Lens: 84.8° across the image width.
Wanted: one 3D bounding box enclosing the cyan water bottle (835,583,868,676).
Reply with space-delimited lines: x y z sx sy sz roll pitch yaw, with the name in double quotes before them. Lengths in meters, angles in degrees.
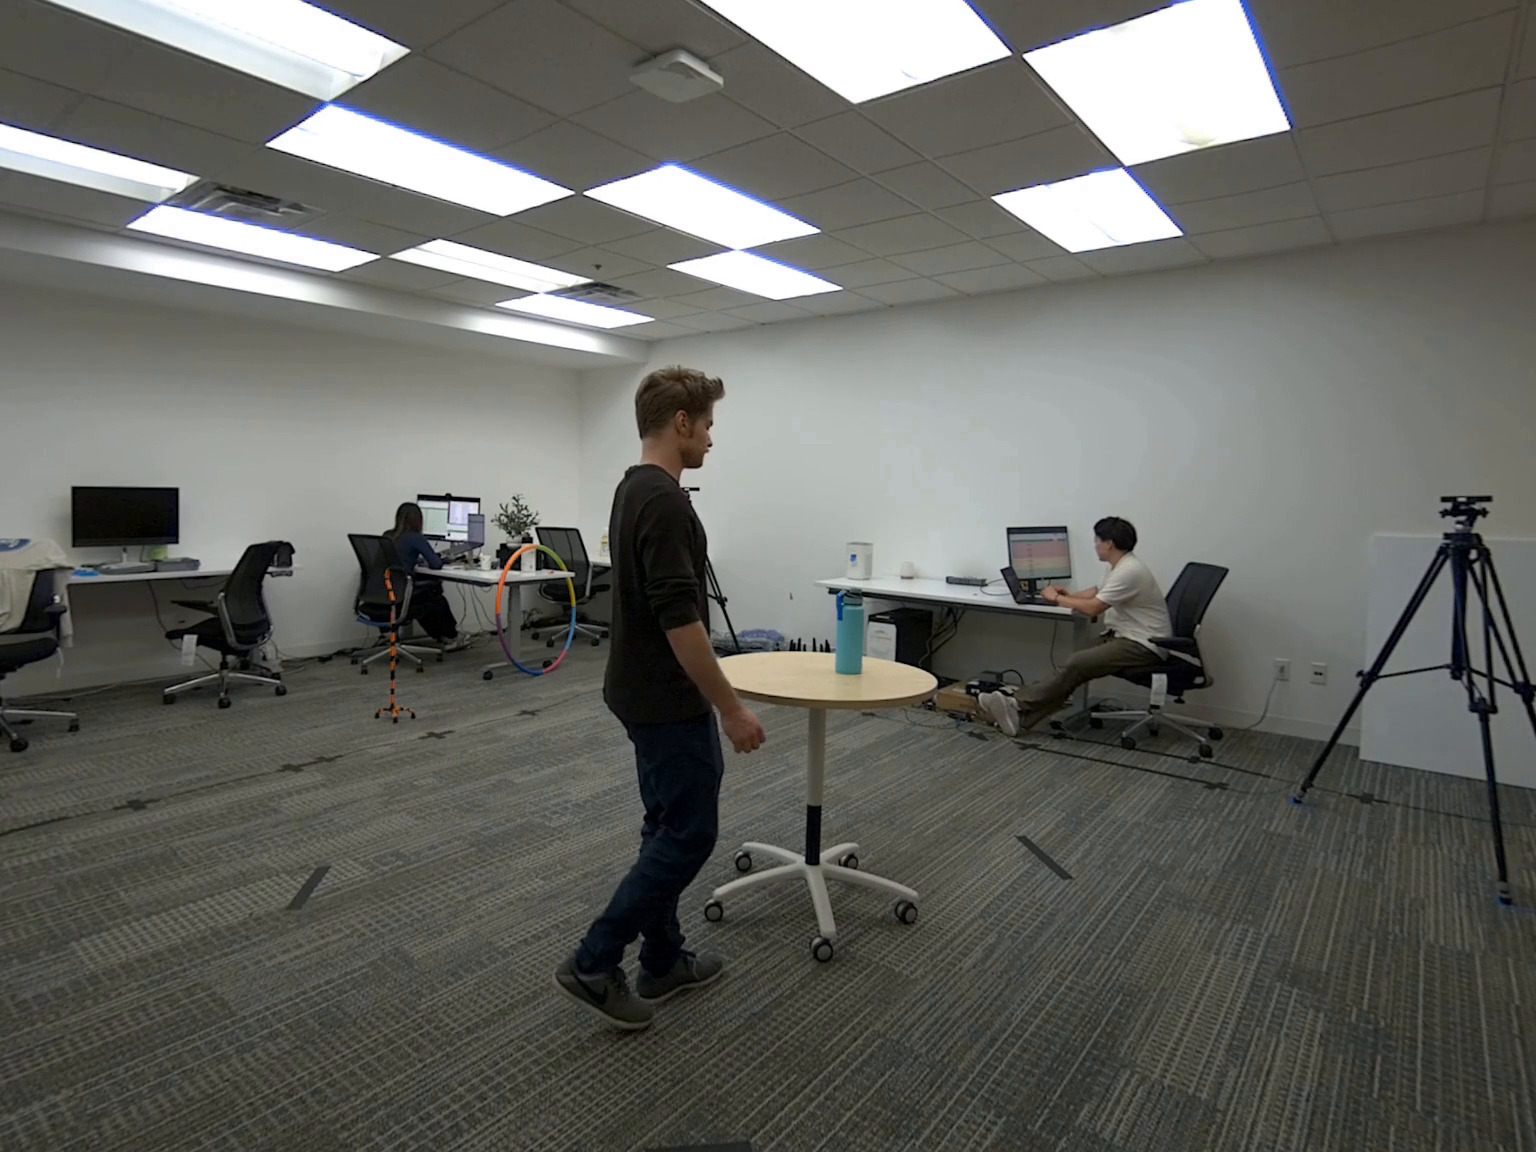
"cyan water bottle" 0.272 0.180 2.849 0.092 0.282 0.093 0 4 -2
